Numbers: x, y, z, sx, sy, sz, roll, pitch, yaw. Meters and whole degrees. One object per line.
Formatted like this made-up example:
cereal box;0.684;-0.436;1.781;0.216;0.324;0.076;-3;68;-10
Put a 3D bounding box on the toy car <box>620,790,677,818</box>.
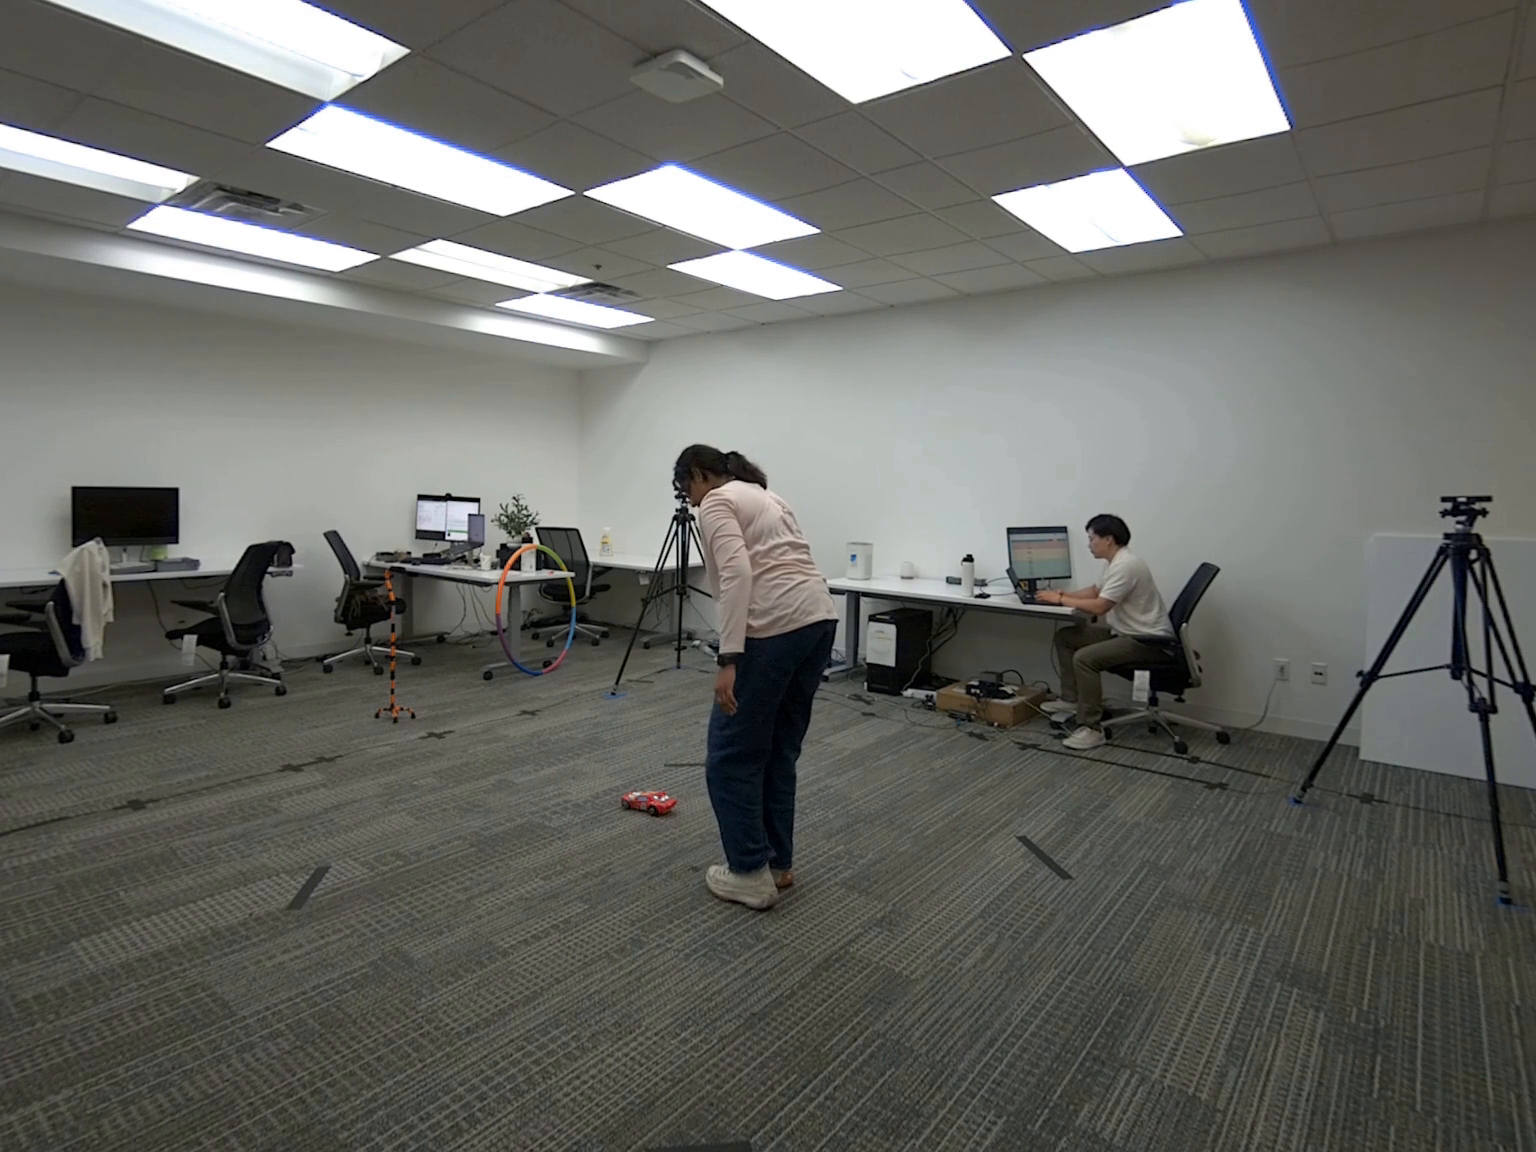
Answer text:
toy car;-0.521;0.976;3.673;0.260;0.083;0.127;-9;0;30
